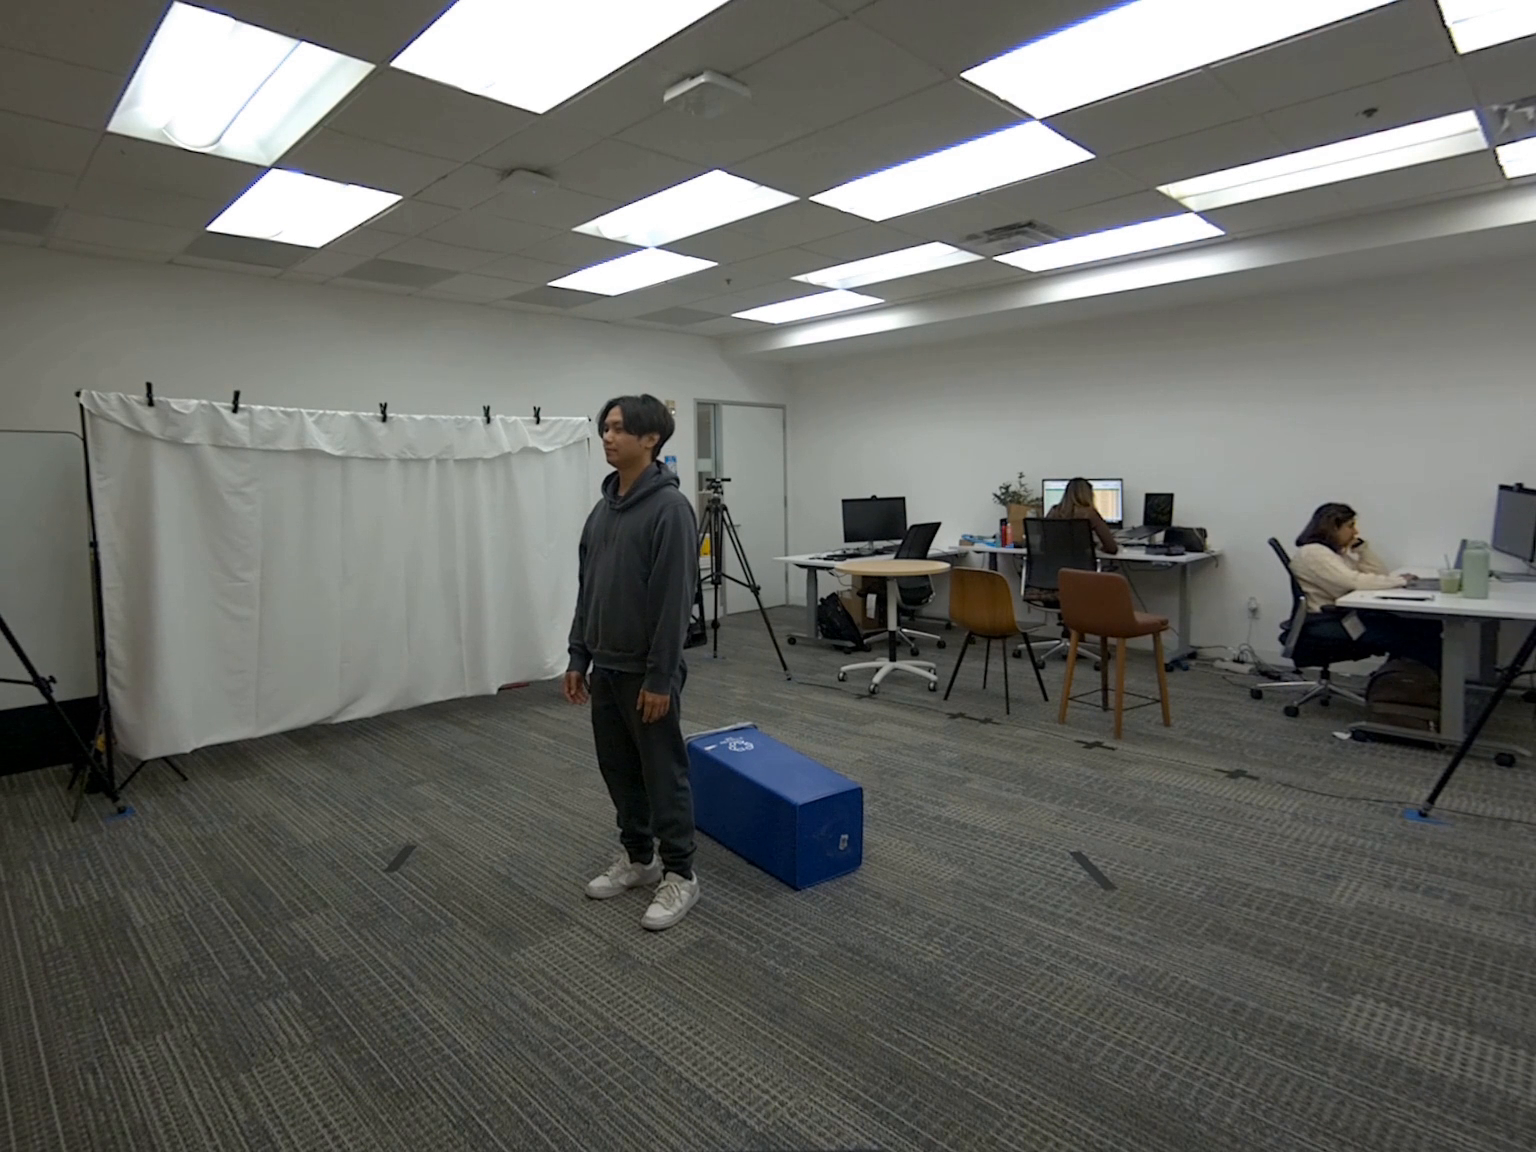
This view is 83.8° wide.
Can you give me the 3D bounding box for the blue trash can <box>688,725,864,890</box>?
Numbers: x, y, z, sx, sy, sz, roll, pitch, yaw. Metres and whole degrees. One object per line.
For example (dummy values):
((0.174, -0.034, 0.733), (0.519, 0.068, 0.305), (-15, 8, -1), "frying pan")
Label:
((0.013, 0.857, 3.249), (0.365, 0.375, 0.736), (-5, 10, -35), "blue trash can")
